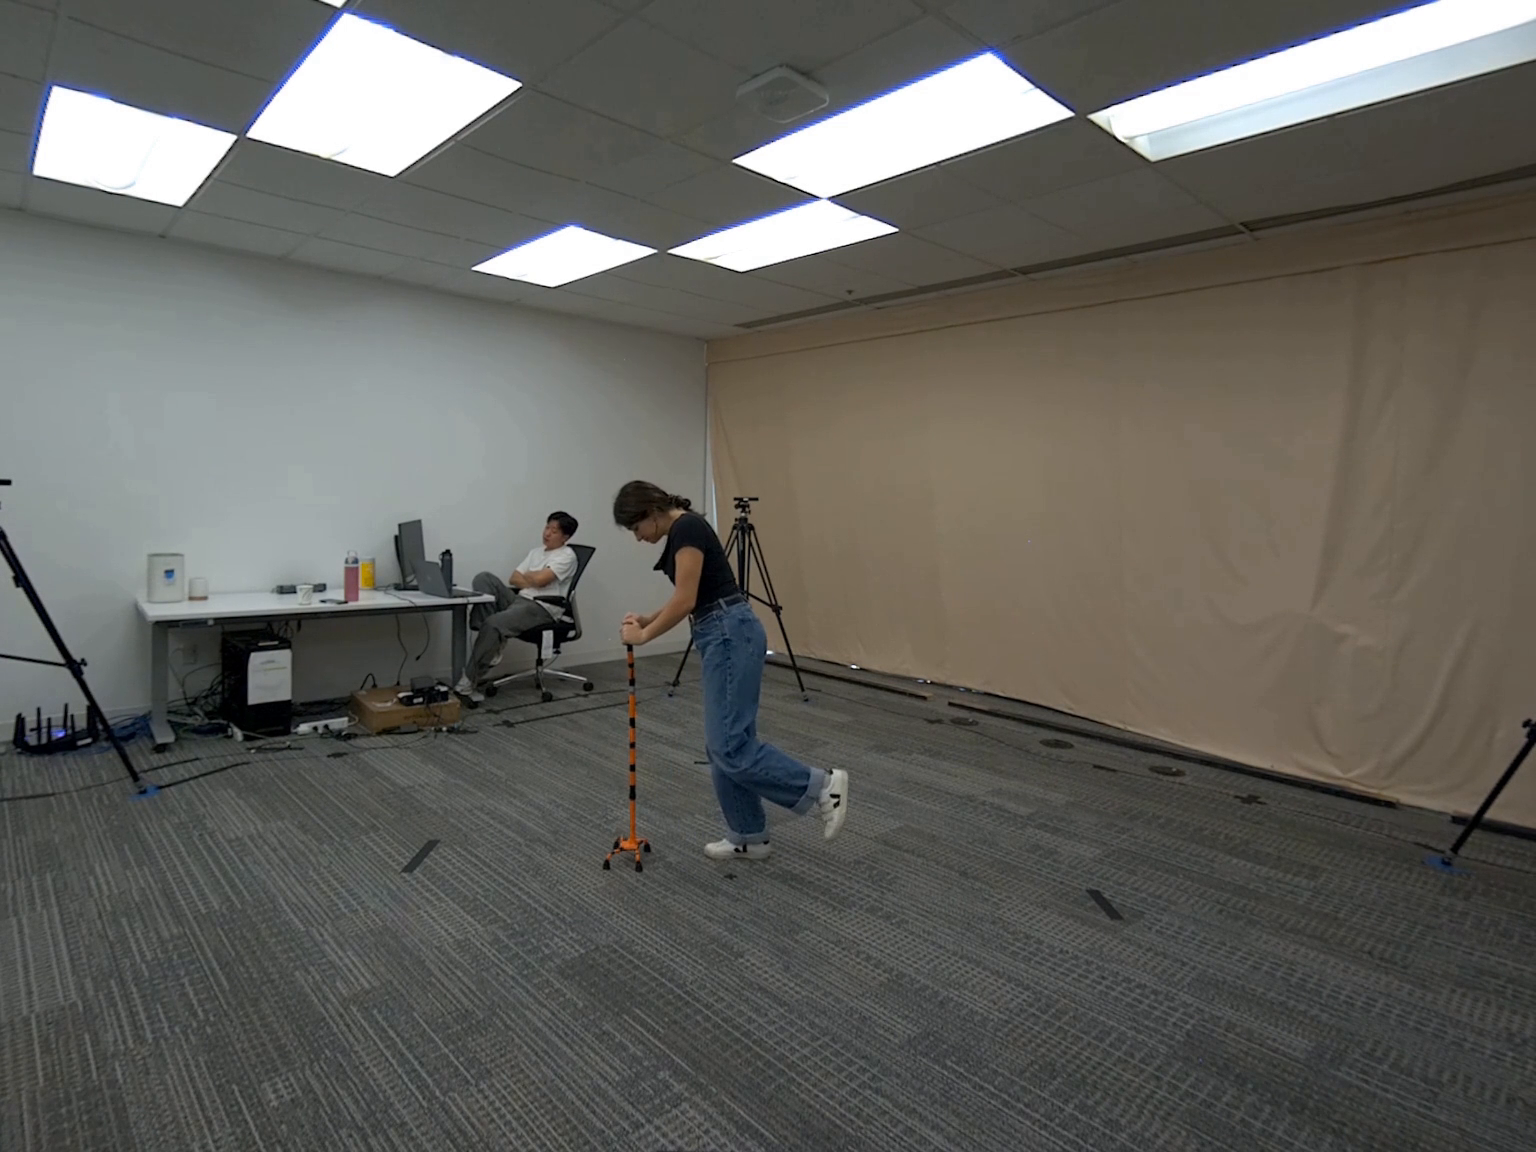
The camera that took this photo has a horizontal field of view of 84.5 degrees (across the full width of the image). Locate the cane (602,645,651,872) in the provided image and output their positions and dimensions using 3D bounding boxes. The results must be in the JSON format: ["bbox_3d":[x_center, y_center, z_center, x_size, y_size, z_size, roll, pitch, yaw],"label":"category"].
[{"bbox_3d":[-0.538,0.631,3.205,0.152,0.906,0.206,1,3,2],"label":"cane"}]
